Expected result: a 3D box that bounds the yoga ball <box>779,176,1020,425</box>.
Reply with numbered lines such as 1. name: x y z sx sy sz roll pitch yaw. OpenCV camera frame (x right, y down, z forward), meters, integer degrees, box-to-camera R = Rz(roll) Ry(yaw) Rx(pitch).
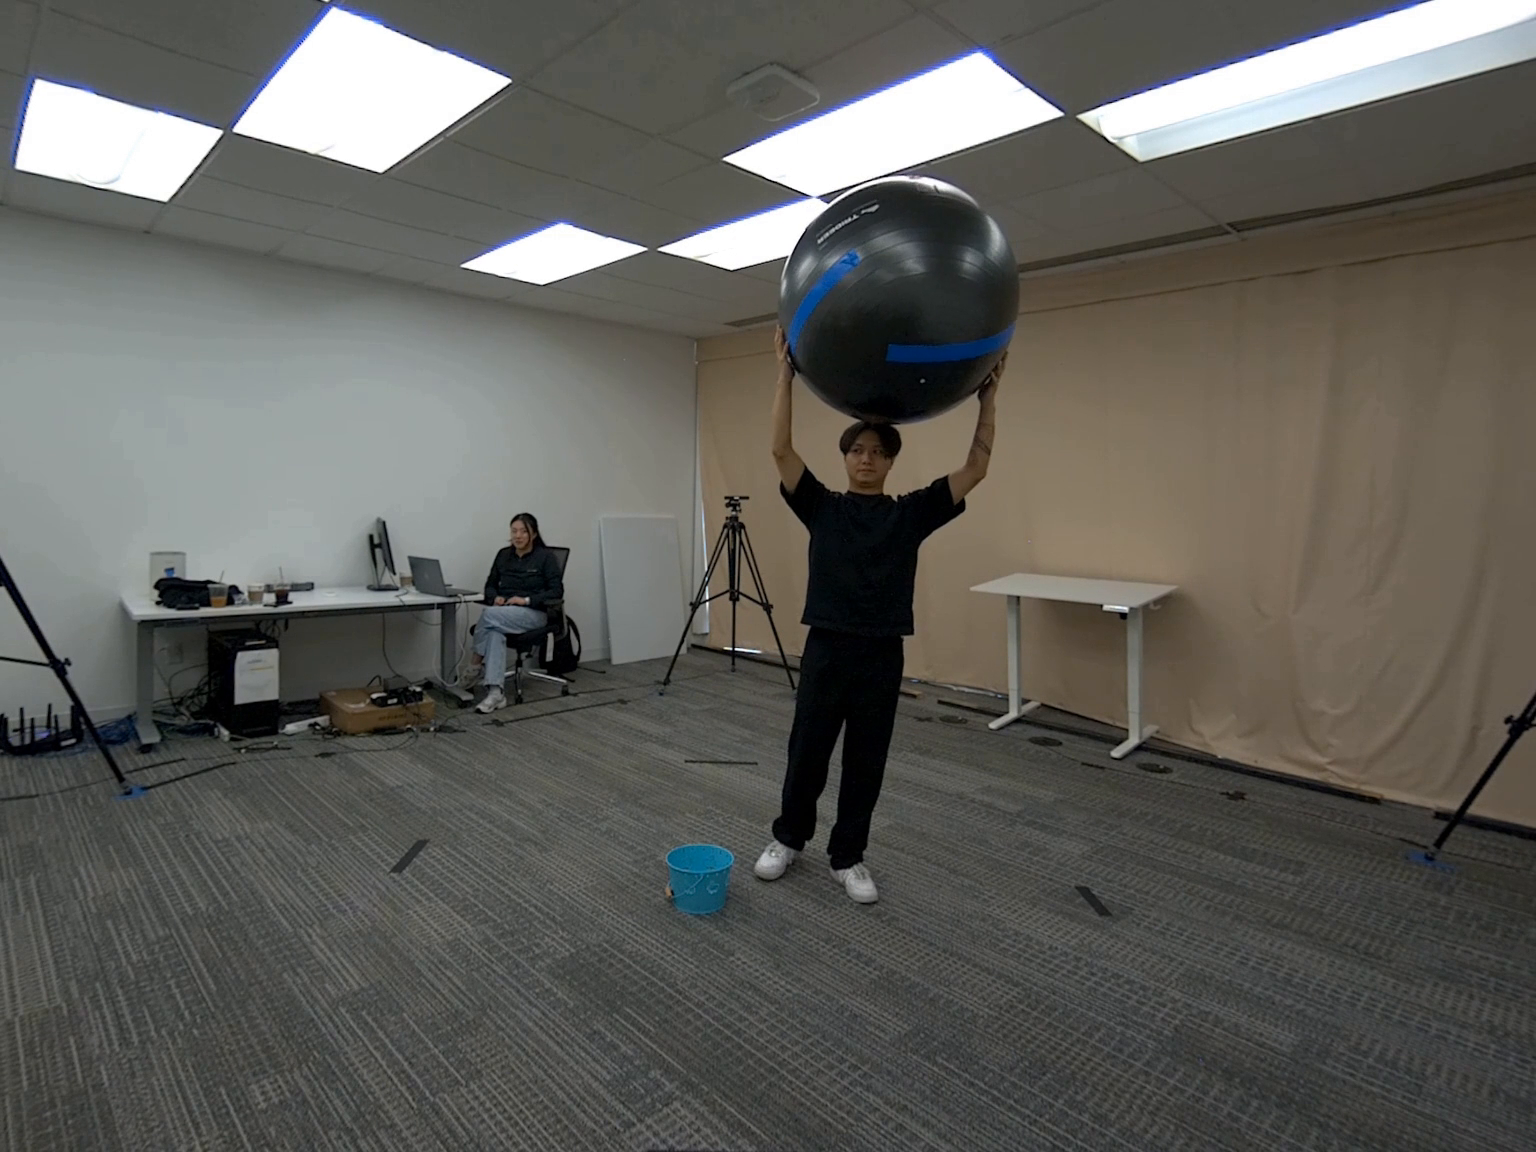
1. yoga ball: 0.409 -0.866 2.707 0.757 0.756 0.761 1 4 -1
